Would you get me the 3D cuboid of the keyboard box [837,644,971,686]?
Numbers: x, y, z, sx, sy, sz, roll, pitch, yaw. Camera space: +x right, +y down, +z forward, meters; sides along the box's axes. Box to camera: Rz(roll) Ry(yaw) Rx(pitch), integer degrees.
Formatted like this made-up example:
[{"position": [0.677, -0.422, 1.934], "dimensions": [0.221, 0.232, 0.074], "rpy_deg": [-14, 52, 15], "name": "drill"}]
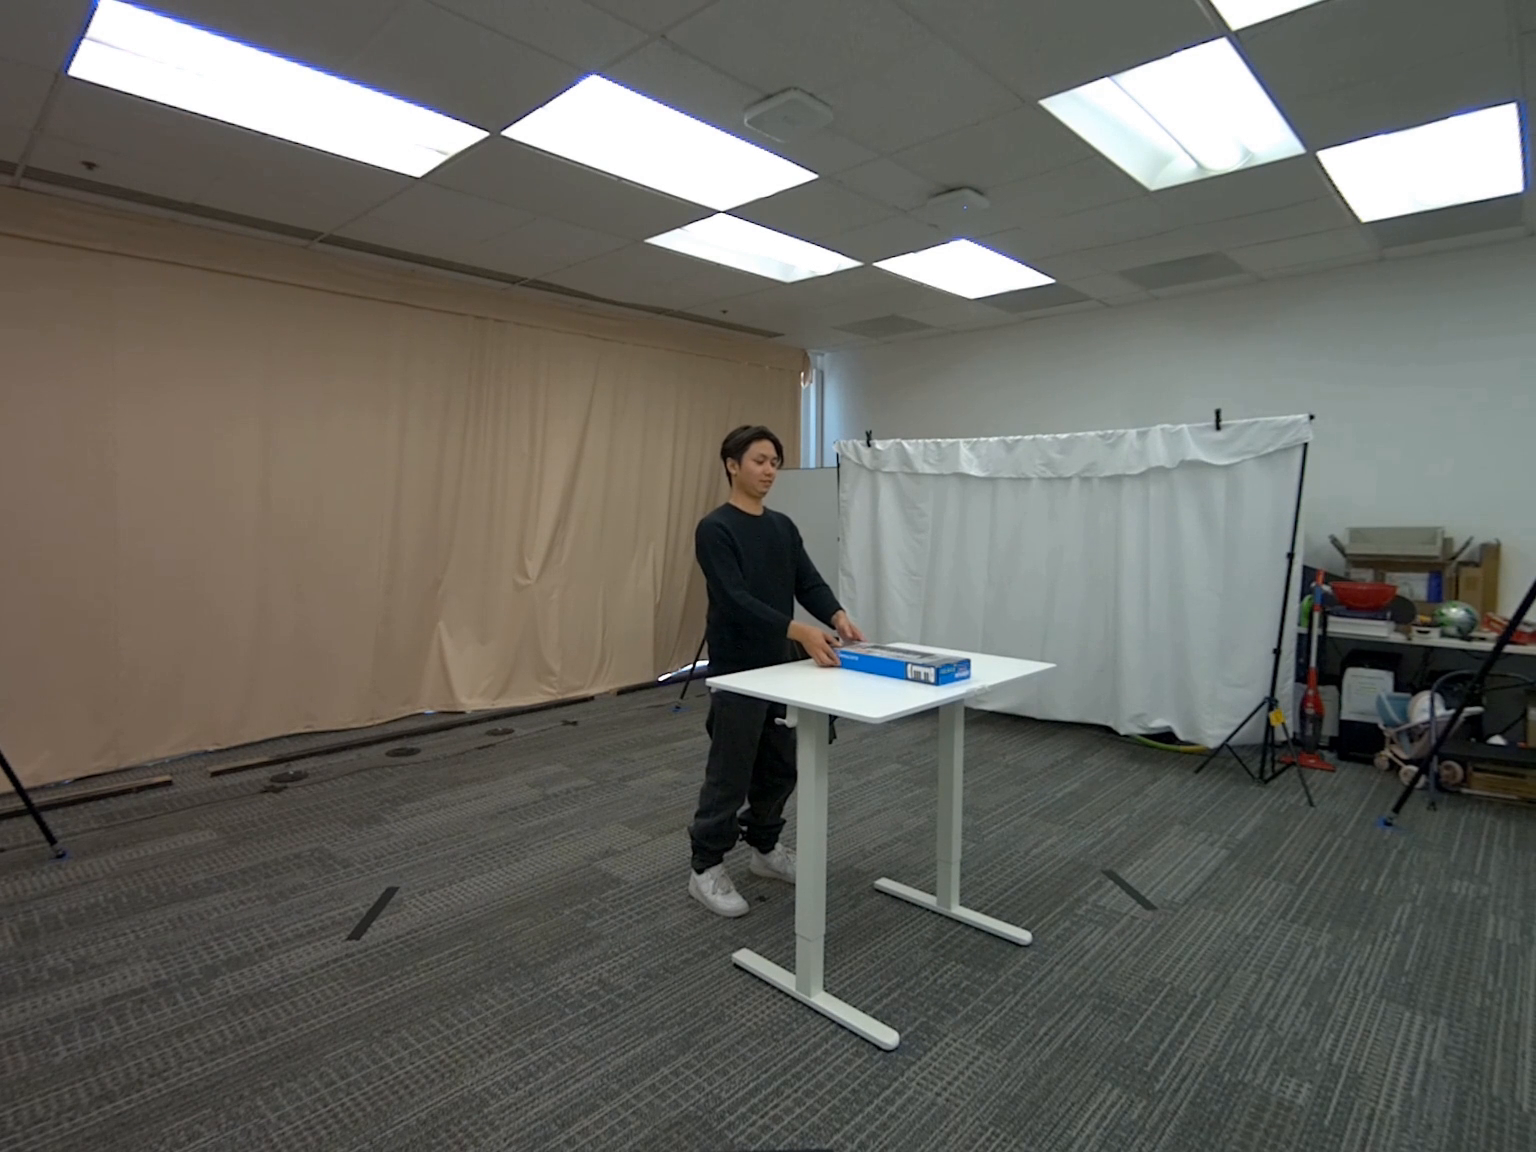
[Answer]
[{"position": [0.393, 0.267, 2.577], "dimensions": [0.170, 0.059, 0.451], "rpy_deg": [-4, 6, -43], "name": "keyboard box"}]
